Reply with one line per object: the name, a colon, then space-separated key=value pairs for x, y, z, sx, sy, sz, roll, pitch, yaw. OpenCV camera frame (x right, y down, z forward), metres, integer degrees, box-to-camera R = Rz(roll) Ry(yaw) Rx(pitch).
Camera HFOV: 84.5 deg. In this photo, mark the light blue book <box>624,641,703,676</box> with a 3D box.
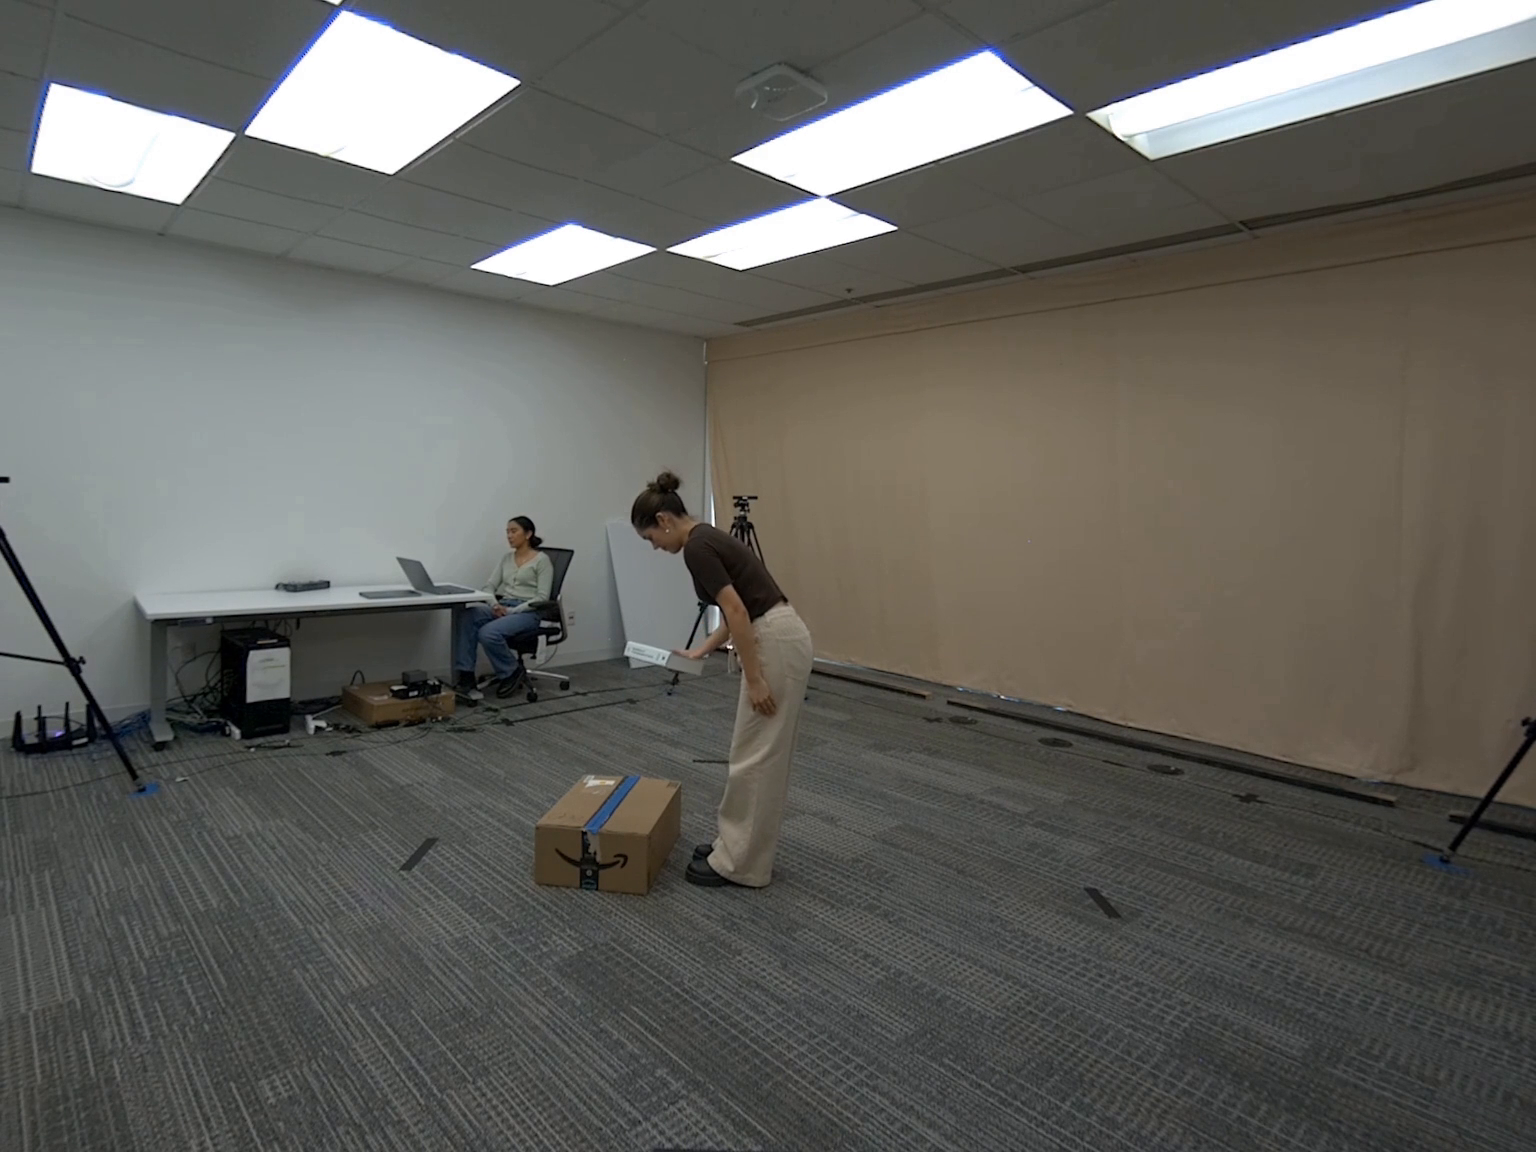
light blue book: x=-0.402 y=0.314 z=3.240 sx=0.268 sy=0.059 sz=0.185 roll=7 pitch=-10 yaw=45
